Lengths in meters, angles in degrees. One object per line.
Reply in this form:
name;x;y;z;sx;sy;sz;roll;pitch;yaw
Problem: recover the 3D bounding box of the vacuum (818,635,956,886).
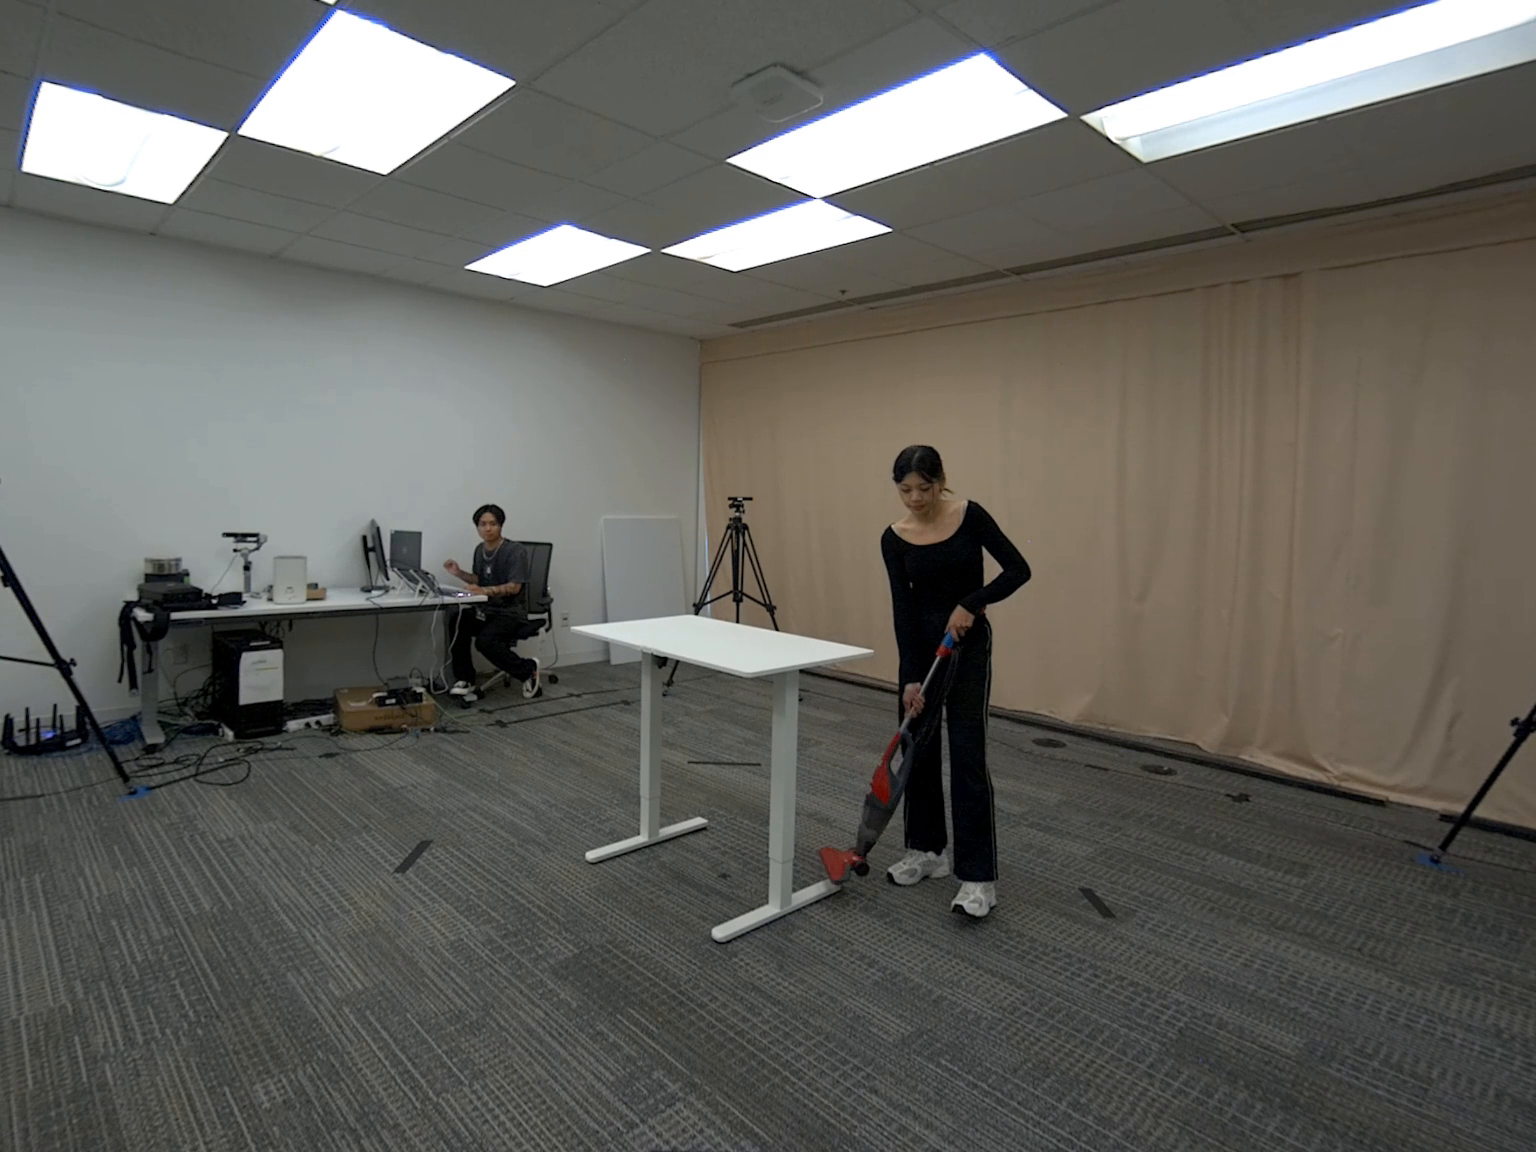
vacuum;0.496;0.568;2.970;0.143;1.048;0.255;26;2;-9
